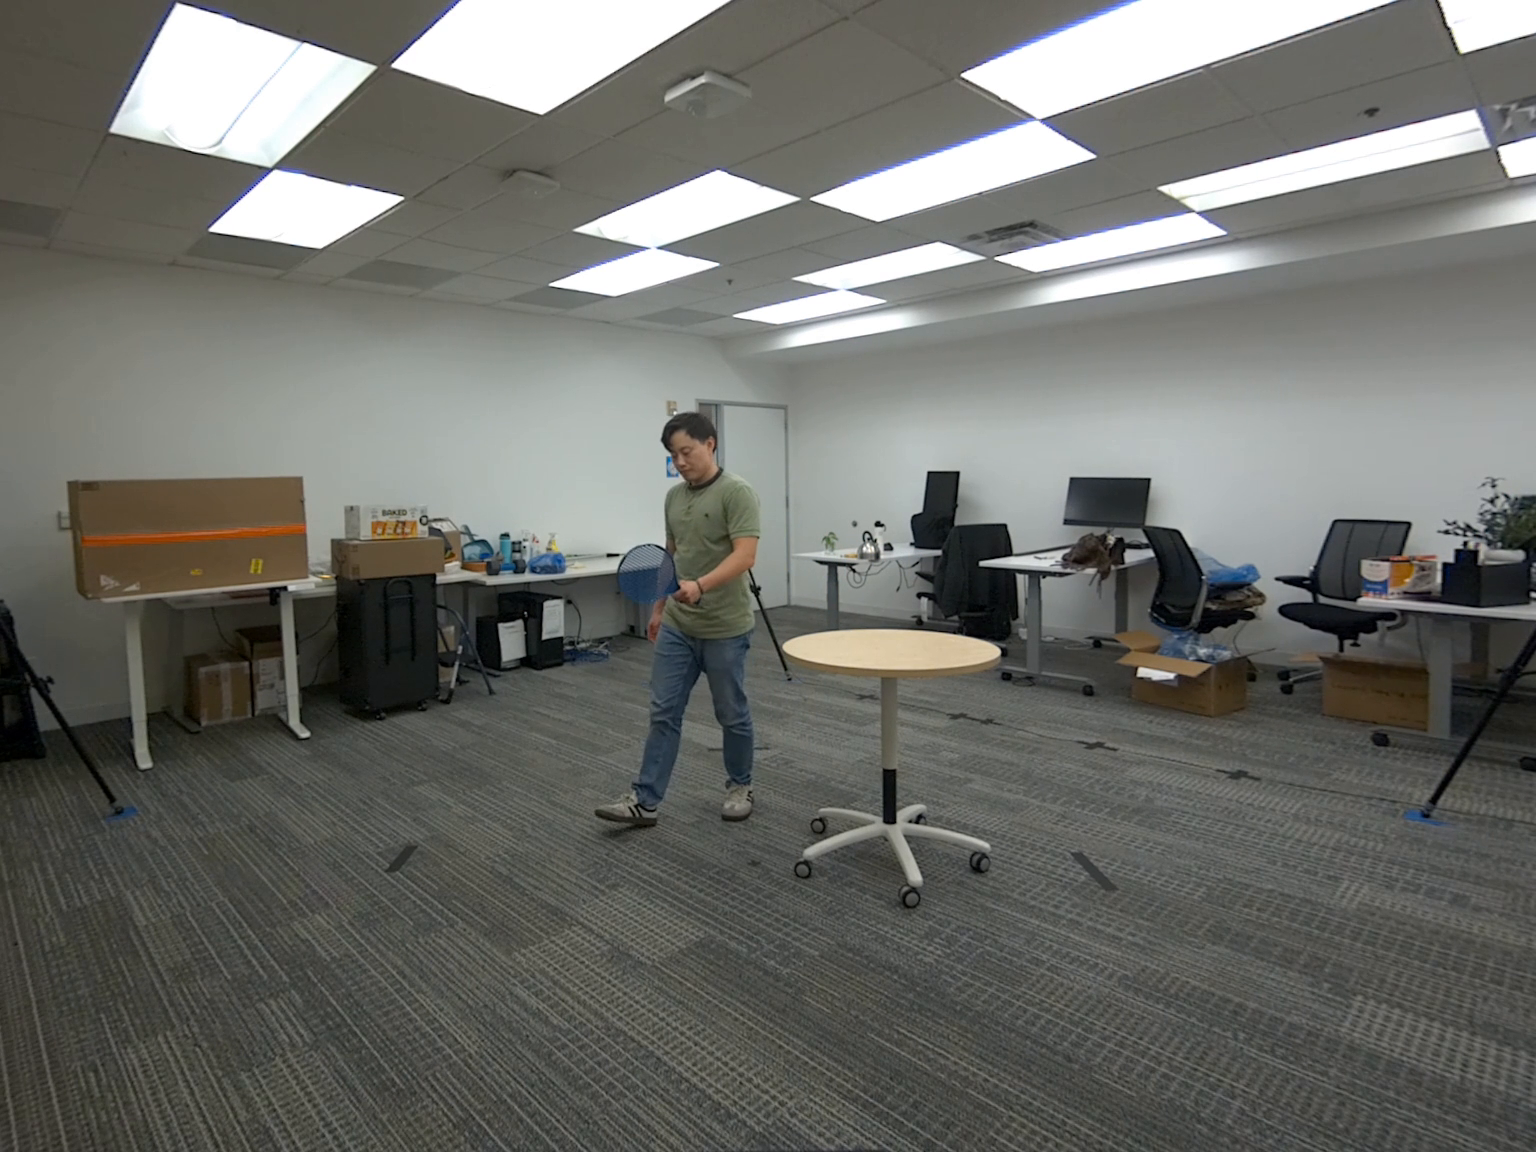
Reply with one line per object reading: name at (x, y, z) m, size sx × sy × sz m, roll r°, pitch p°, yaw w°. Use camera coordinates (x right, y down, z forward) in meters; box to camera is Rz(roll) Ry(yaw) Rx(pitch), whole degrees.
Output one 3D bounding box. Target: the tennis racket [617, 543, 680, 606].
tennis racket at (-0.403, 0.028, 3.034) m, size 0.033 × 0.214 × 0.416 m, roll 24°, pitch -9°, yaw 38°
